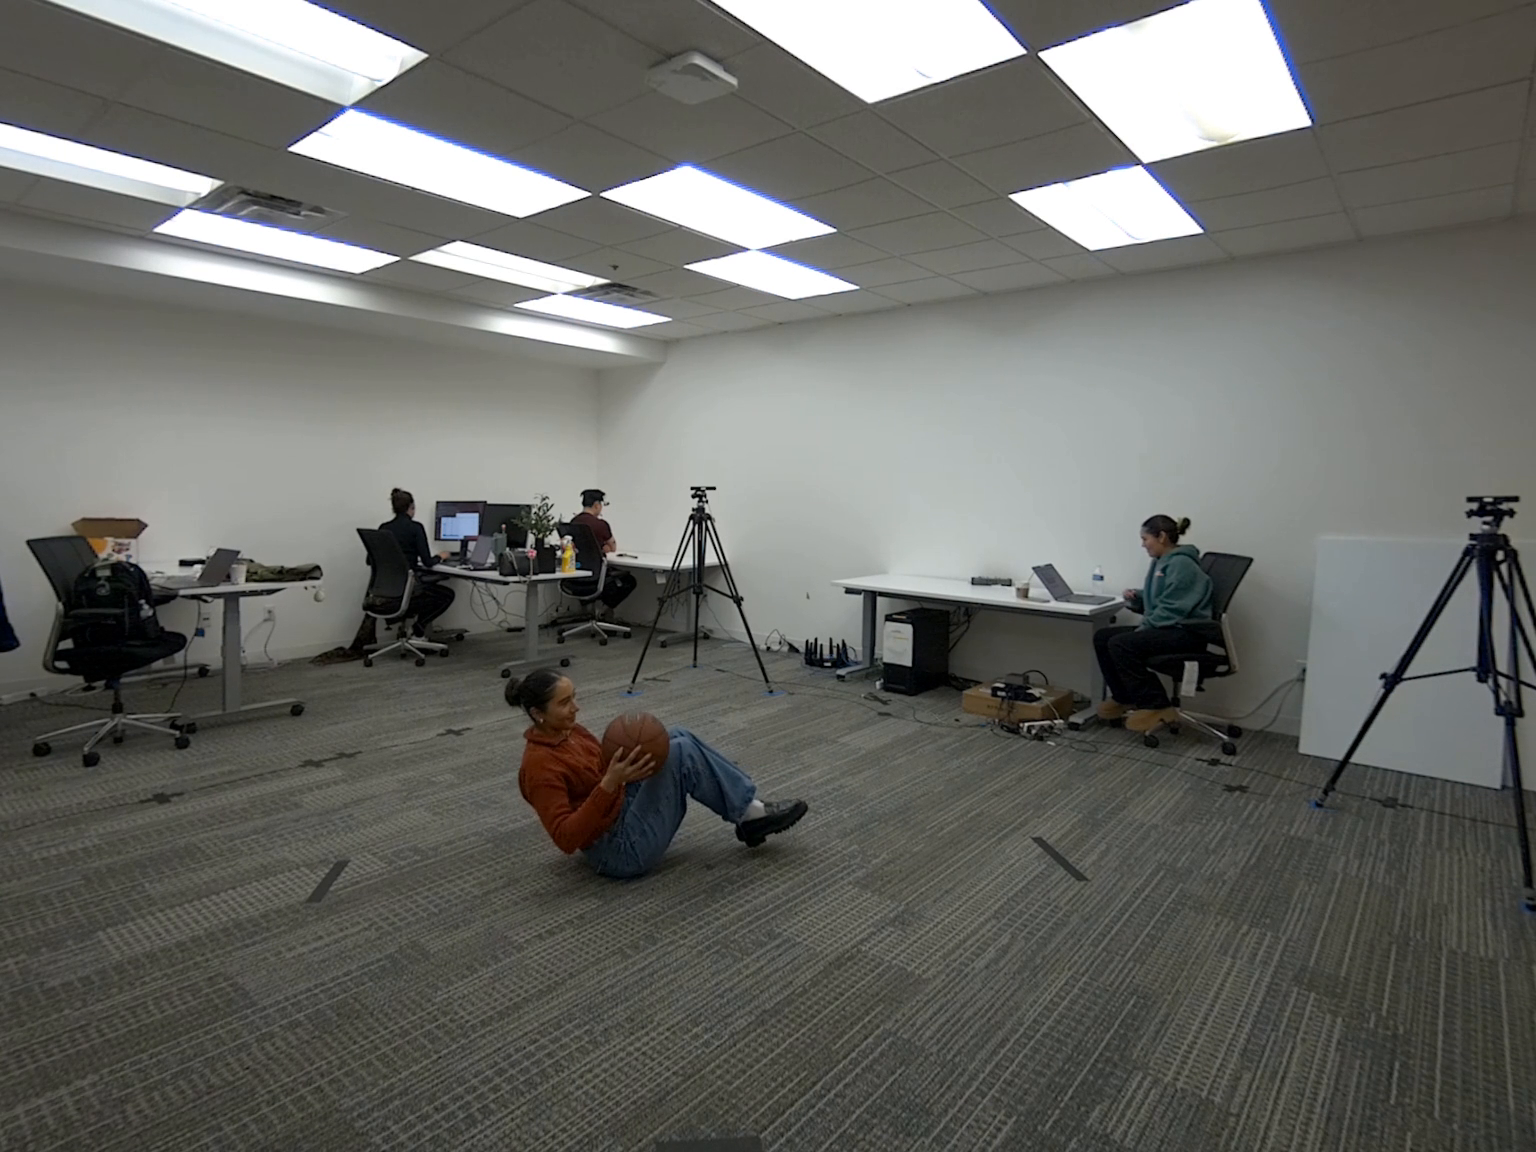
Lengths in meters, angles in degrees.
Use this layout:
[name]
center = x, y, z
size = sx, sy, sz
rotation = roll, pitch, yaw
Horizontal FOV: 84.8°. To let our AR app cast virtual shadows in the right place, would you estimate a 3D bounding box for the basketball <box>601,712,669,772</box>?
[basketball]
center = -0.484, 0.600, 2.959
size = 0.235, 0.235, 0.237
rotation = 1, 4, -2
